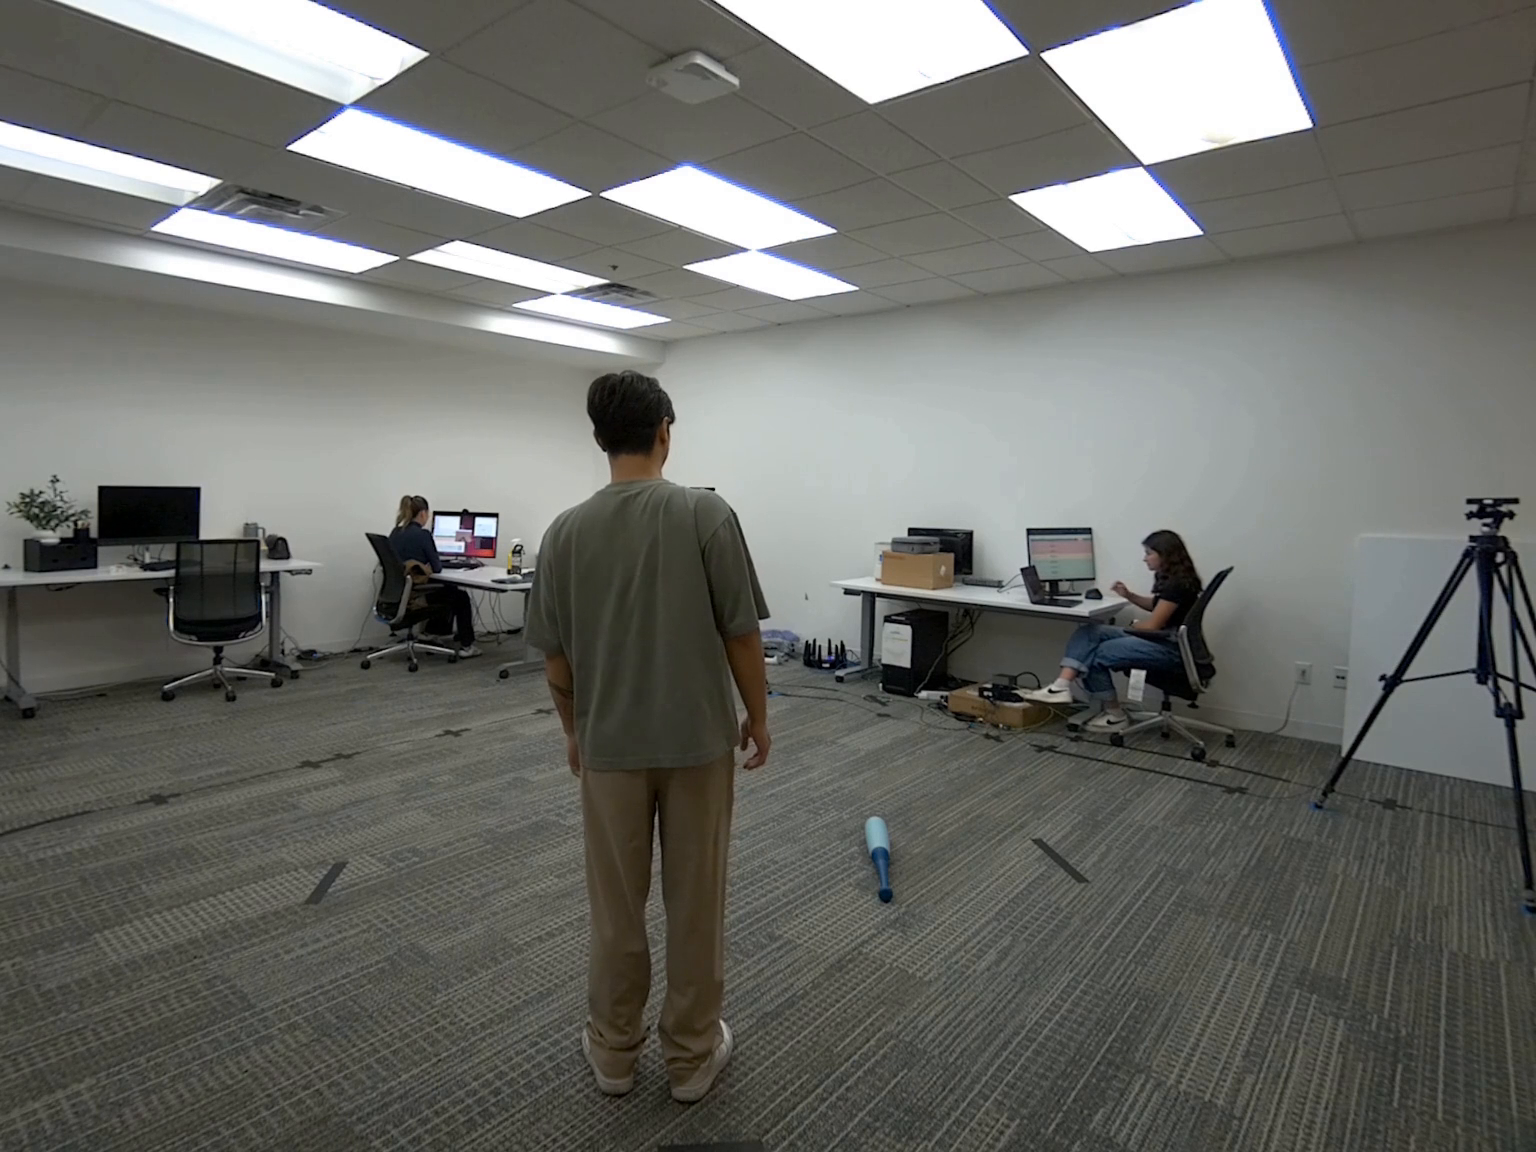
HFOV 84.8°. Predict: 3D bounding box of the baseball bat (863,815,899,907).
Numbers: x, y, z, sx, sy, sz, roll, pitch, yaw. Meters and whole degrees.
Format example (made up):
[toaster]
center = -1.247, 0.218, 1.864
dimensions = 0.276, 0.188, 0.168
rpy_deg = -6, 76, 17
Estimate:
[baseball bat]
center = 0.410, 1.037, 3.148
dimensions = 0.089, 0.088, 0.544
rpy_deg = 1, 8, 2
